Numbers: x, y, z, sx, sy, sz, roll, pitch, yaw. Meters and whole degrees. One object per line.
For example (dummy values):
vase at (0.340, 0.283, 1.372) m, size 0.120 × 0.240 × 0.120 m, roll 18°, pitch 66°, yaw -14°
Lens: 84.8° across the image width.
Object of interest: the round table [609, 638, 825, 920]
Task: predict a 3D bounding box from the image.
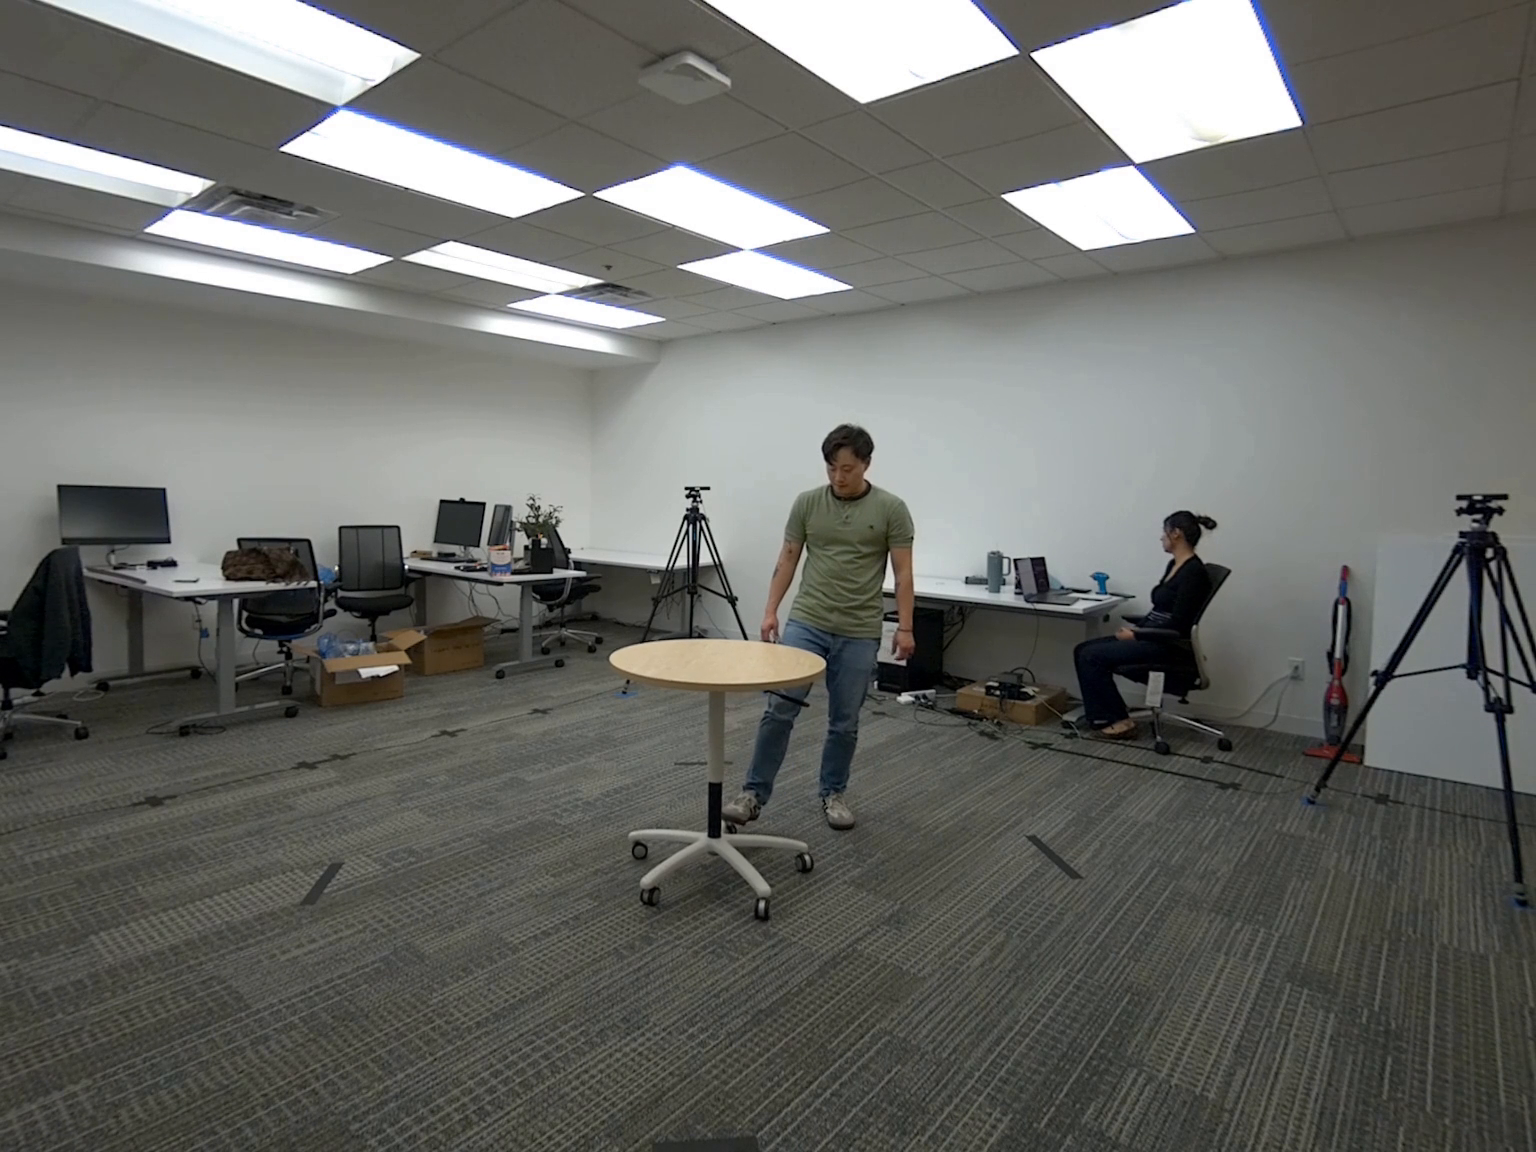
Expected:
round table at (-0.201, 0.683, 3.036) m, size 0.763 × 0.791 × 0.768 m, roll 1°, pitch 4°, yaw -2°
